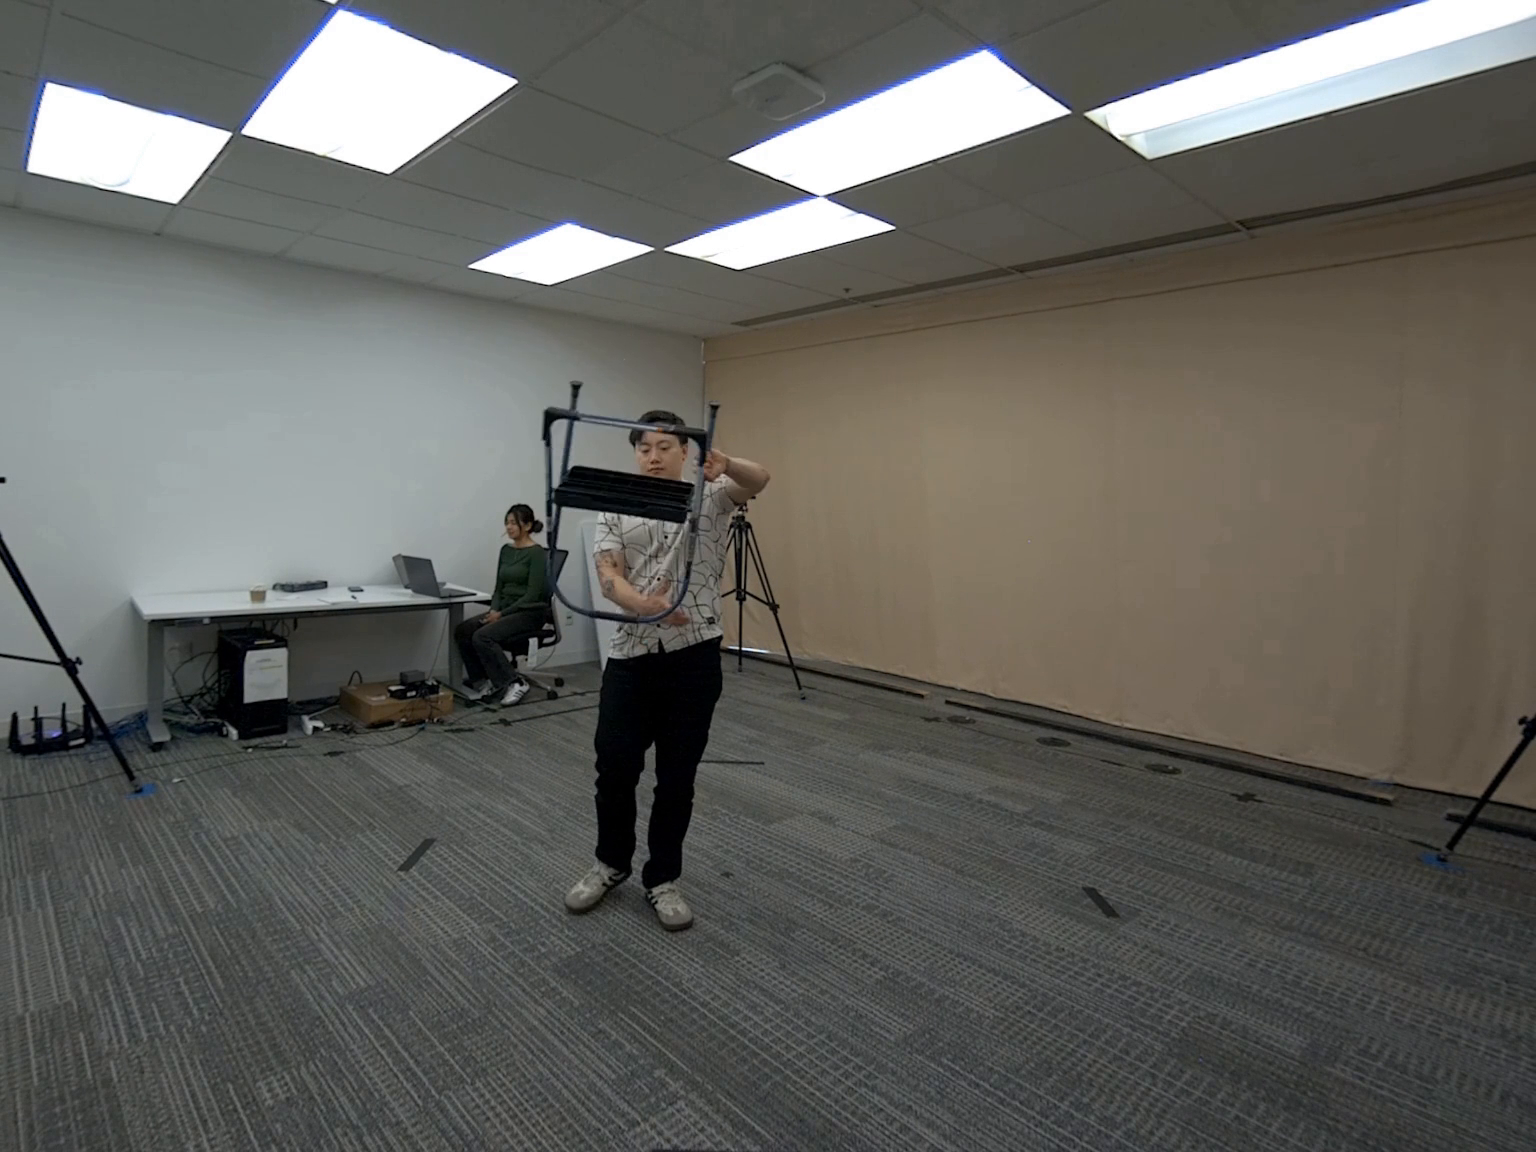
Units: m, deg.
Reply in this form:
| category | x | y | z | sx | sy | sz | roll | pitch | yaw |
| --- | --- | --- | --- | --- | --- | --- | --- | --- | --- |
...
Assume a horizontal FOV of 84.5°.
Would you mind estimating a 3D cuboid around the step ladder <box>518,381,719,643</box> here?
| category | x | y | z | sx | sy | sz | roll | pitch | yaw |
| --- | --- | --- | --- | --- | --- | --- | --- | --- | --- |
| step ladder | -0.406 | -0.172 | 2.331 | 0.431 | 0.598 | 0.353 | 10 | 22 | 0 |
